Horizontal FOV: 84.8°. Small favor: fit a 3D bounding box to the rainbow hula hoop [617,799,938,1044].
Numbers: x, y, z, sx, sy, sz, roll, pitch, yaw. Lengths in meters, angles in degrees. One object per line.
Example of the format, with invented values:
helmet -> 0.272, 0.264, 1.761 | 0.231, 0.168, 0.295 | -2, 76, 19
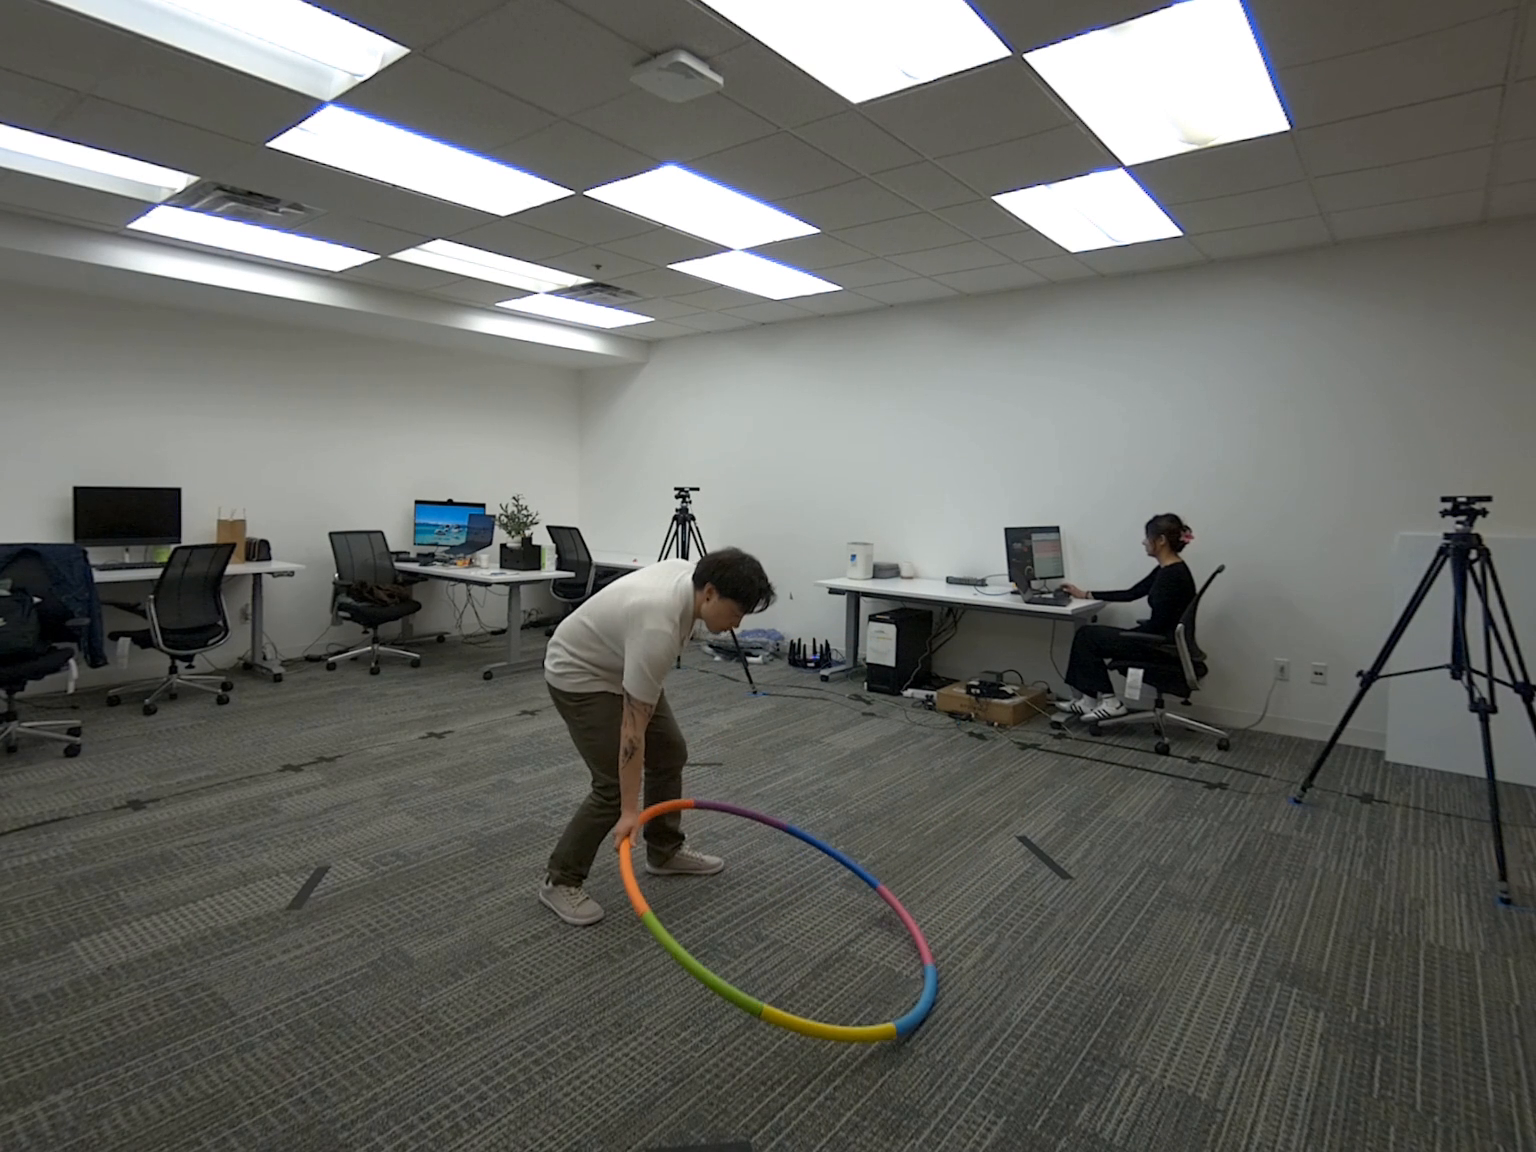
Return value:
rainbow hula hoop -> 0.036, 0.942, 2.484 | 0.973, 0.035, 0.990 | 20, 10, -5
